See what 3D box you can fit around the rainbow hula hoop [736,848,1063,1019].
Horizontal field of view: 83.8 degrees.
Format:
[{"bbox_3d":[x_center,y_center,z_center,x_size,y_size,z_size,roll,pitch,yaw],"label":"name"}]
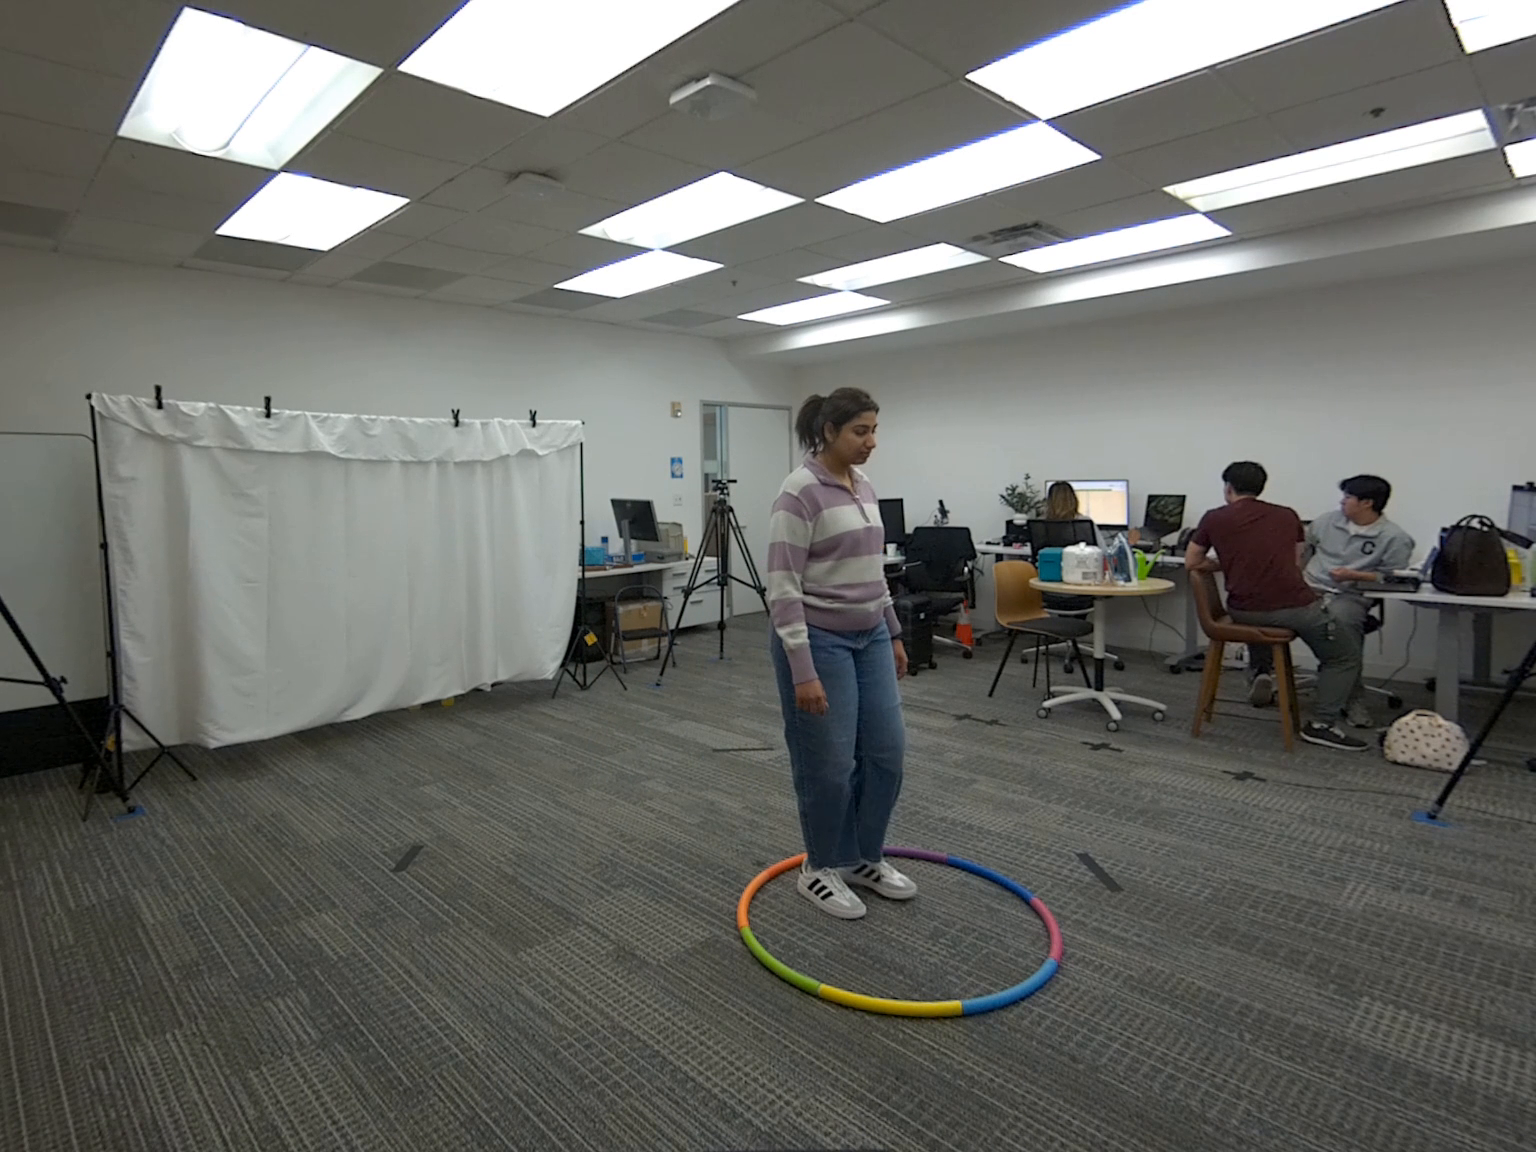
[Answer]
[{"bbox_3d":[0.394,1.058,2.689,0.978,0.035,0.984,-1,7,-2],"label":"rainbow hula hoop"}]
